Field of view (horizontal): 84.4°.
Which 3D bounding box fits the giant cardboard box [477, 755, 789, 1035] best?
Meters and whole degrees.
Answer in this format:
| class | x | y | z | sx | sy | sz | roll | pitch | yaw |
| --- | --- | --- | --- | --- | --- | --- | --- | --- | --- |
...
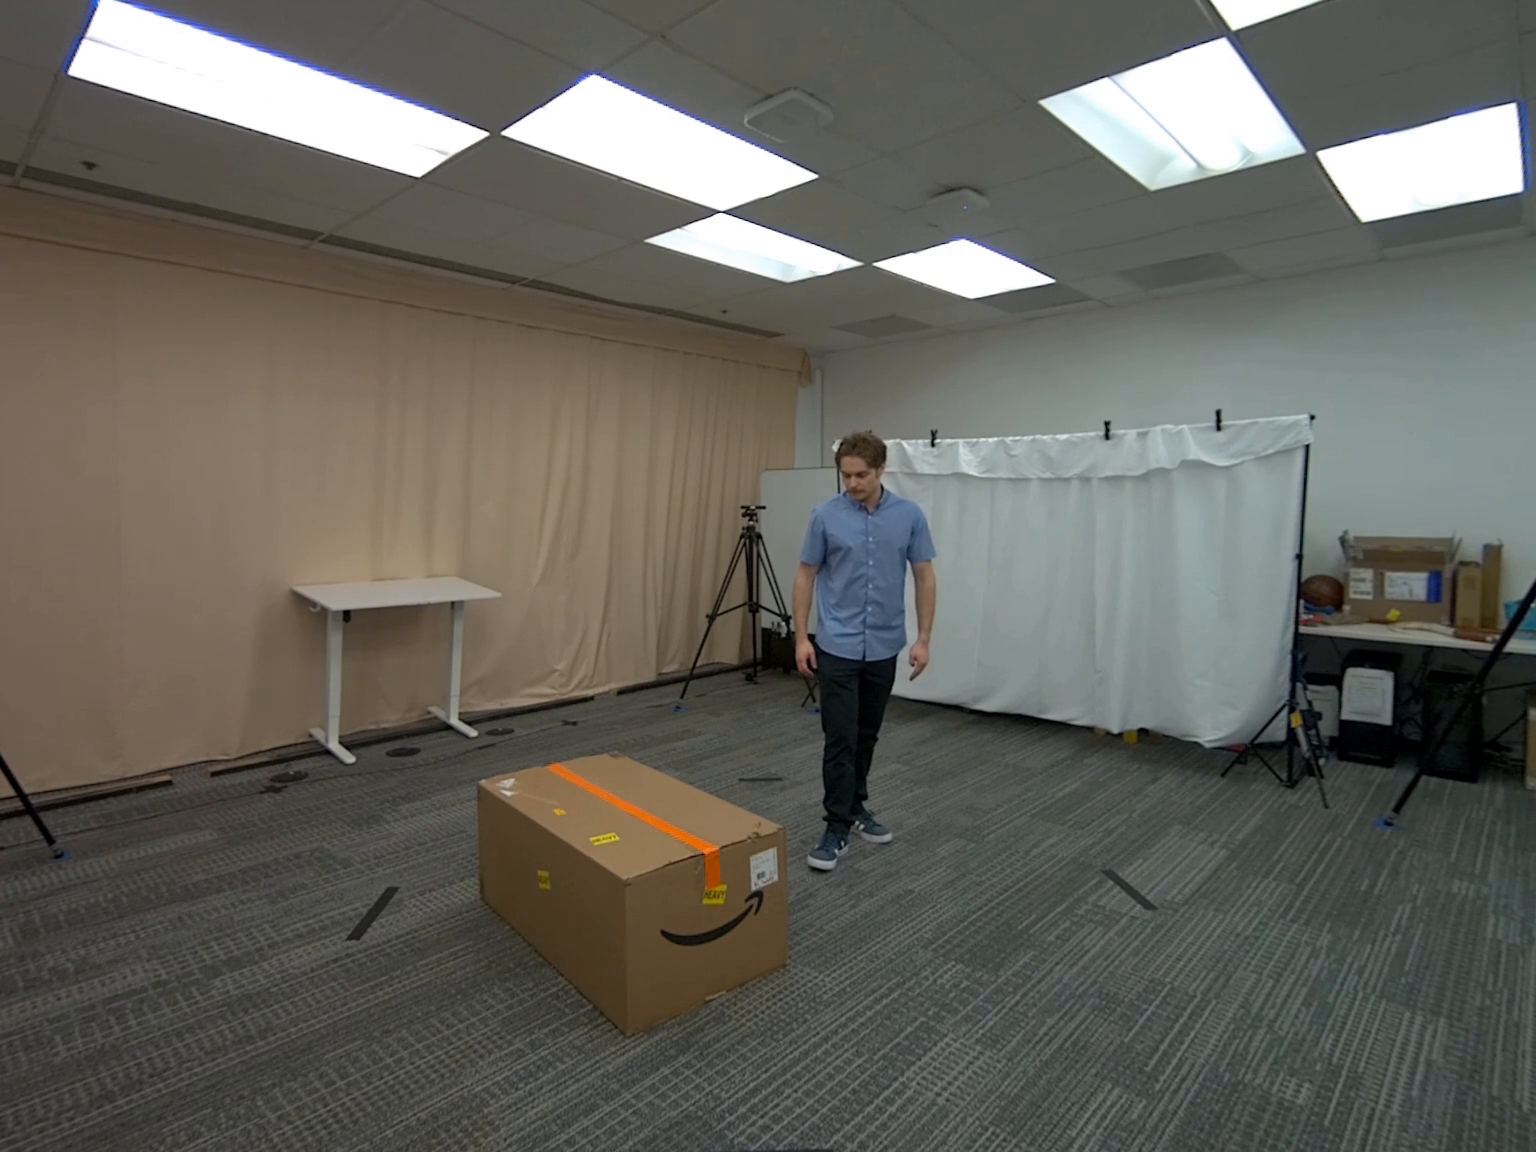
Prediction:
| class | x | y | z | sx | sy | sz | roll | pitch | yaw |
| --- | --- | --- | --- | --- | --- | --- | --- | --- | --- |
| giant cardboard box | -0.483 | 0.953 | 2.766 | 0.566 | 0.446 | 1.060 | -2 | 4 | -39 |
